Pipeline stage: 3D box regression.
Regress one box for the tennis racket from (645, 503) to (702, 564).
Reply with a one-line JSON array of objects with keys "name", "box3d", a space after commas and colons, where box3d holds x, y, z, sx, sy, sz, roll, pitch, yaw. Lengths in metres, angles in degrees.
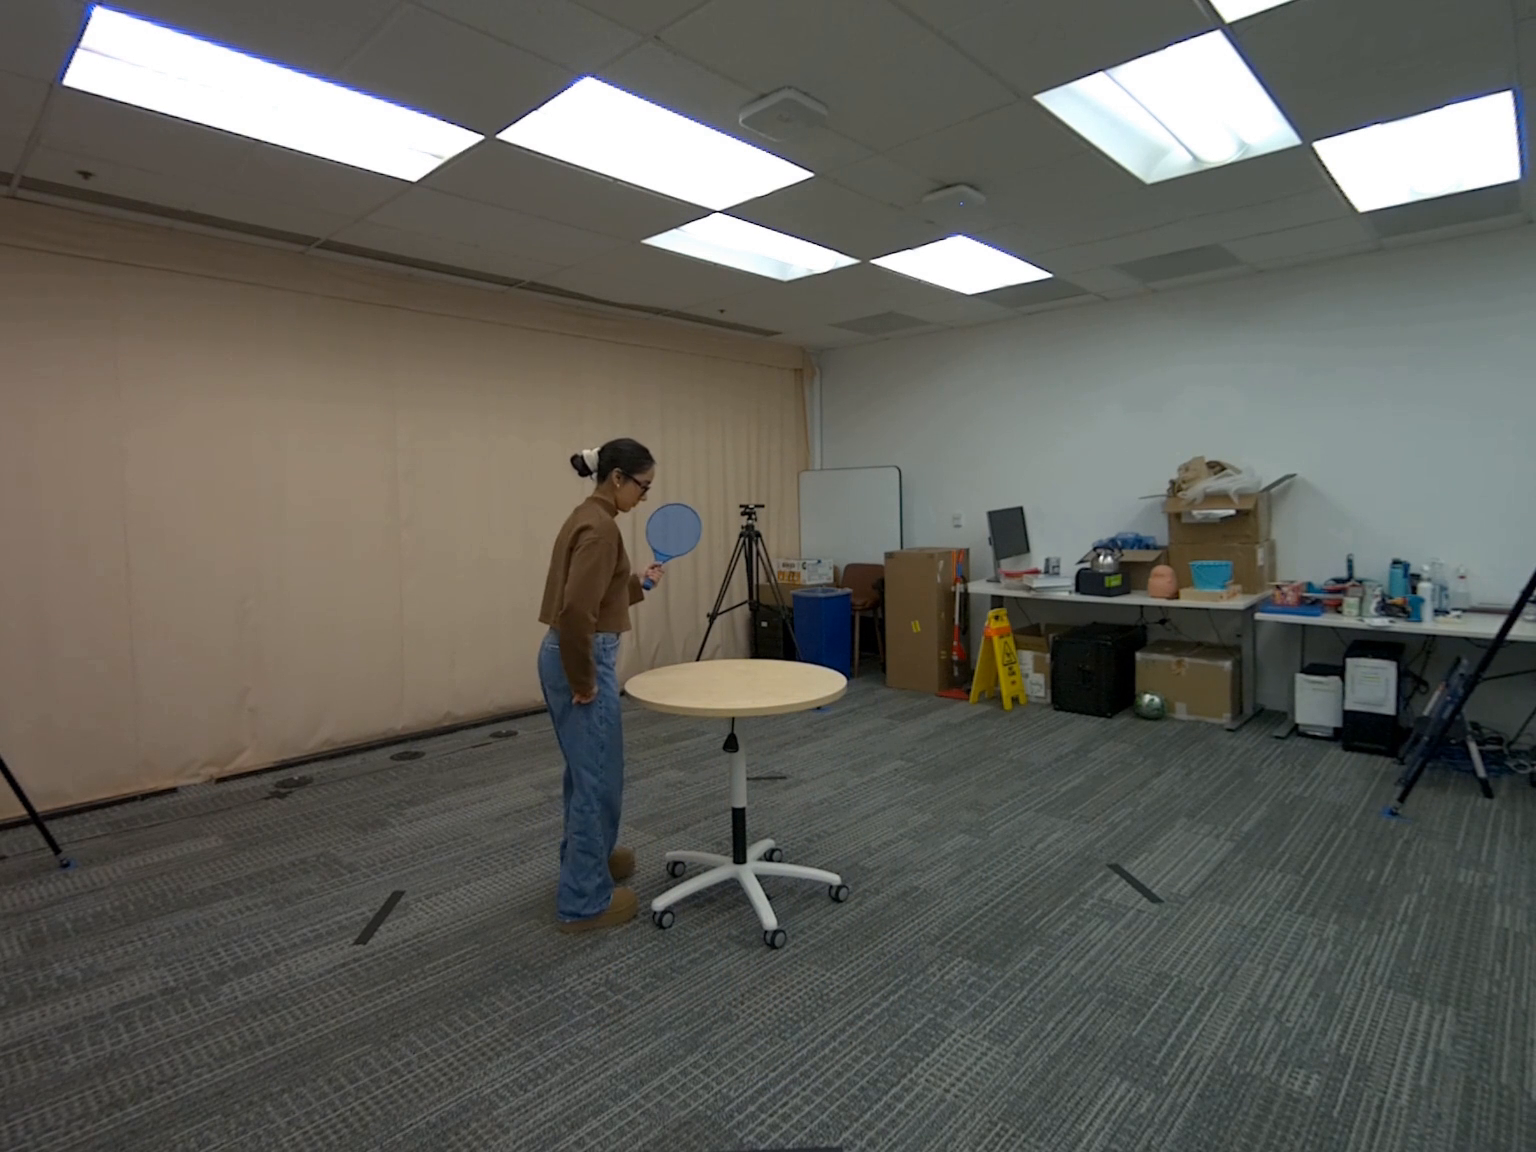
[{"name": "tennis racket", "box3d": [-0.377, -0.115, 3.240, 0.214, 0.434, 0.031, 22, -35, 2]}]
